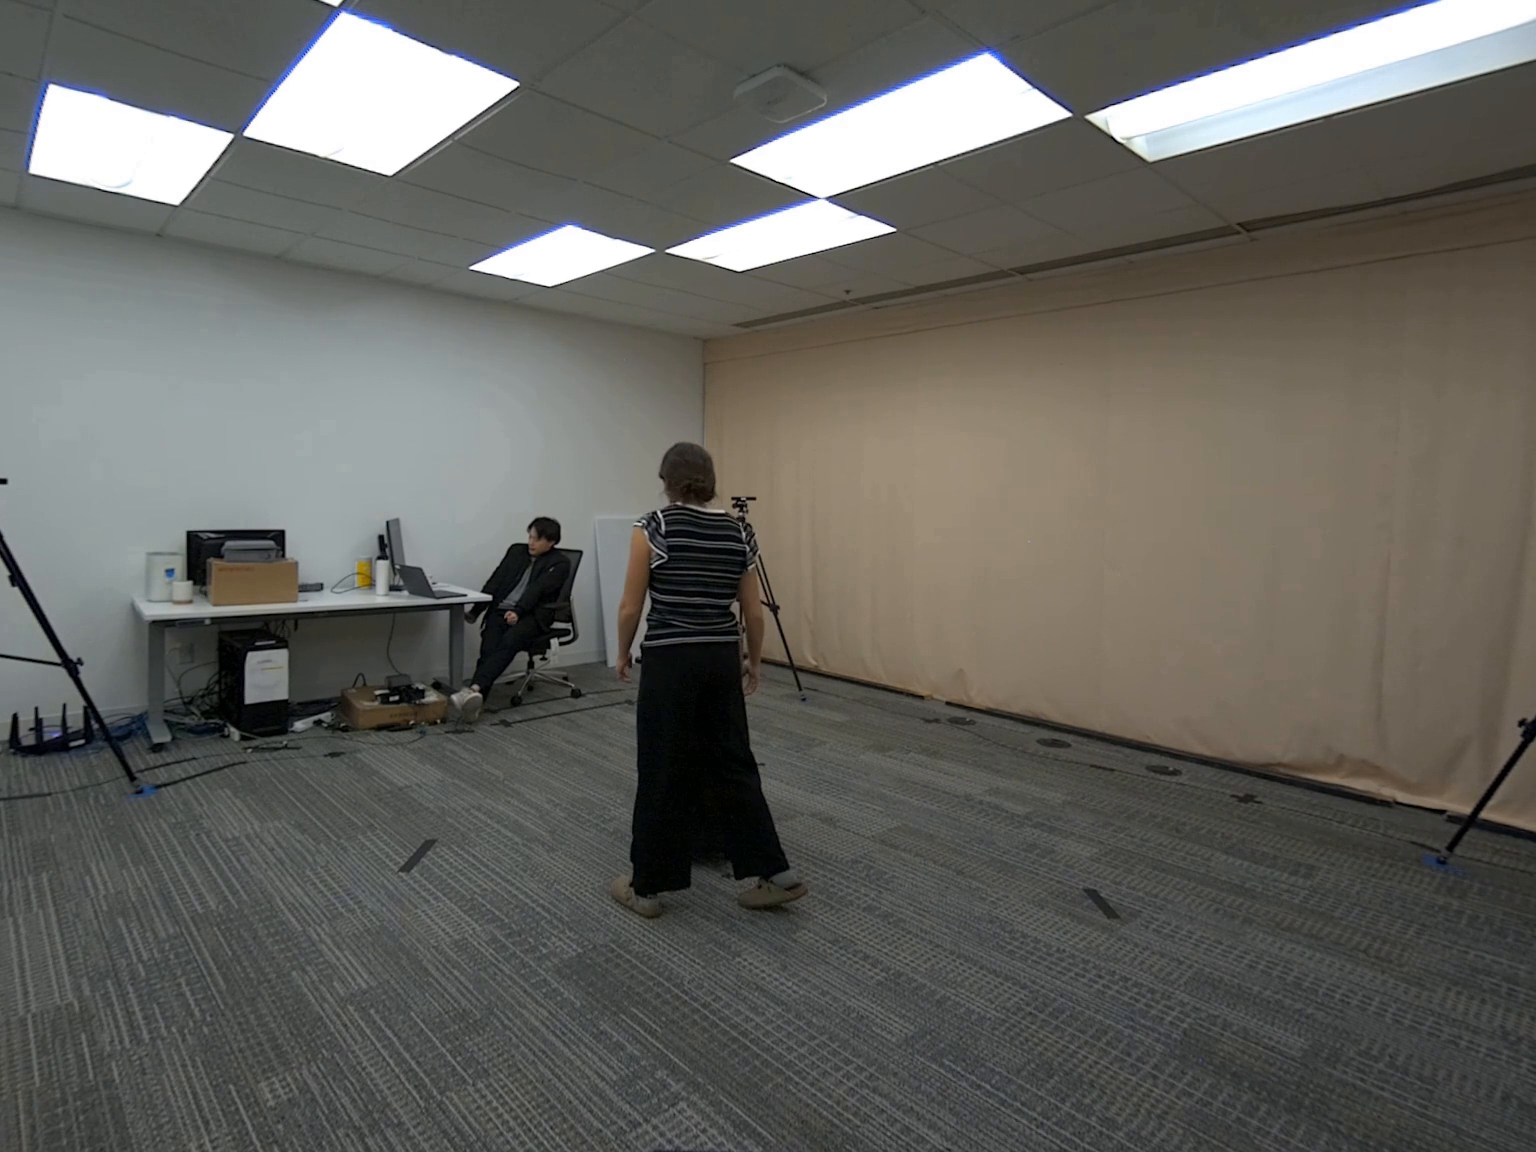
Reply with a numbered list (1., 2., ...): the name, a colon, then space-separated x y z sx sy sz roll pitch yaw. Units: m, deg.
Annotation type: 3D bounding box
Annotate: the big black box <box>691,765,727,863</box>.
1. big black box: -0.309 0.663 3.365 0.398 0.859 0.521 1 4 3
